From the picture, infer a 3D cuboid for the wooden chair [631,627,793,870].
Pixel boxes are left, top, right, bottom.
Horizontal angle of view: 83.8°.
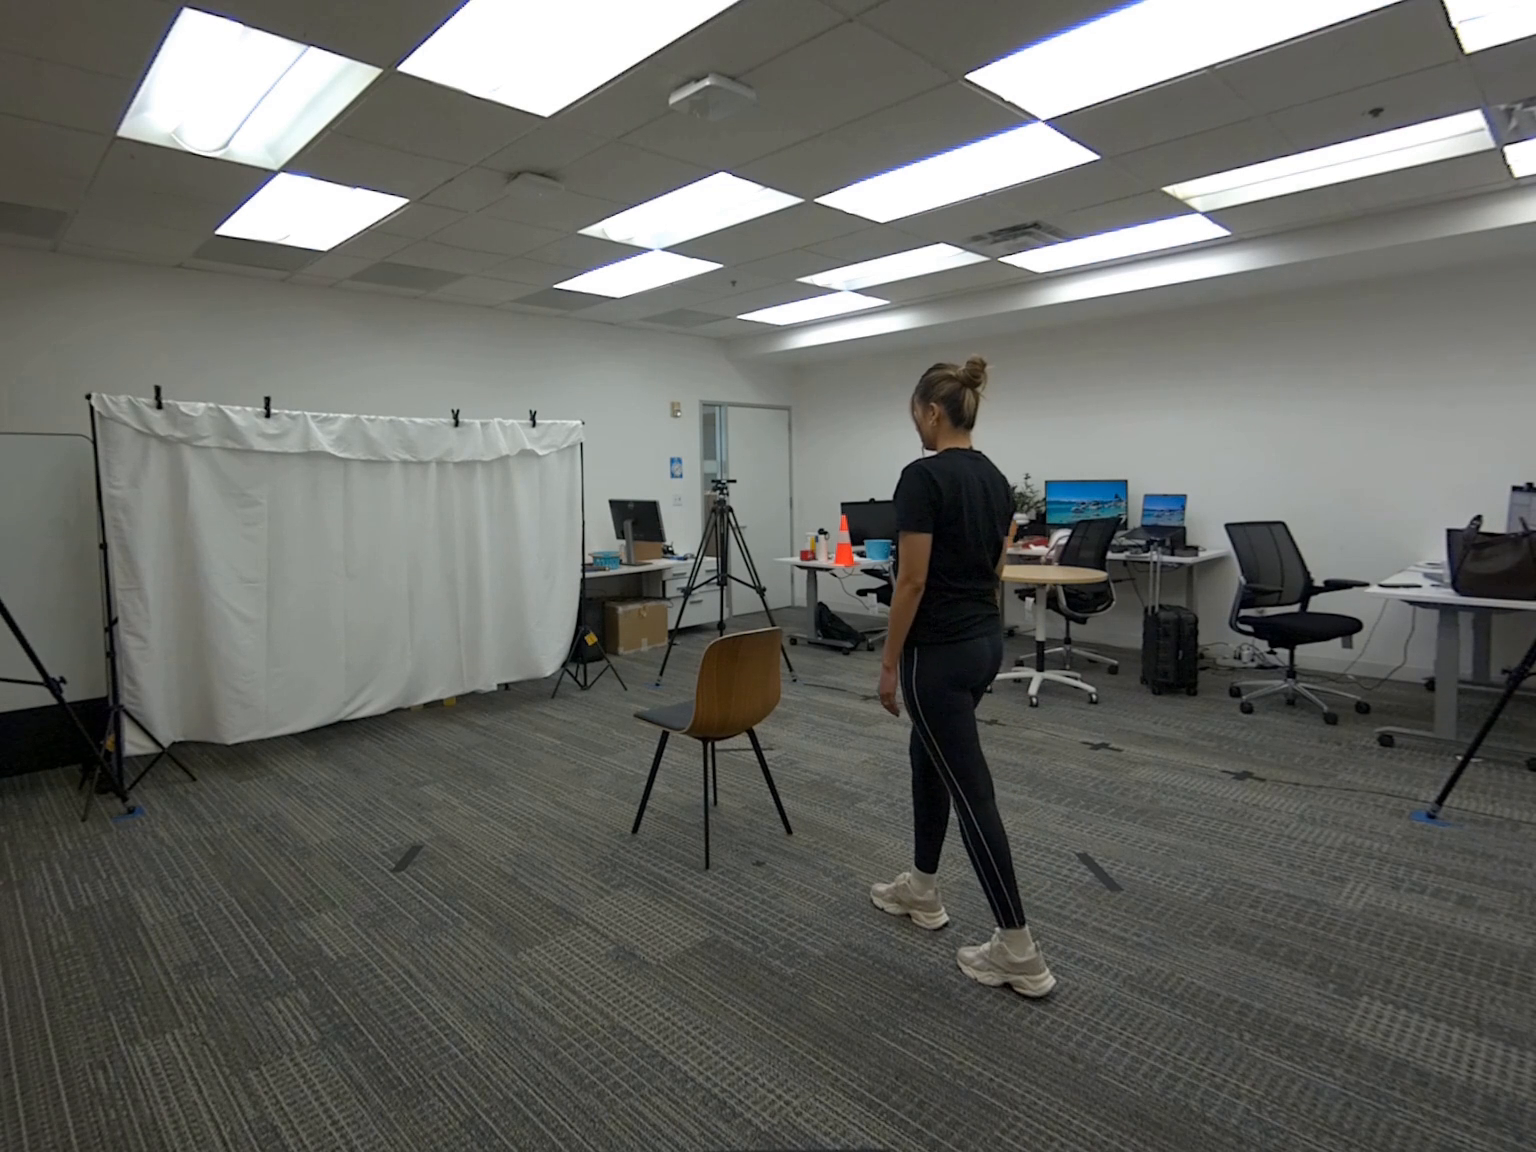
[{"bbox_3d":[-0.235,0.595,3.353,0.465,0.872,0.541,-5,10,-44],"label":"wooden chair"}]
